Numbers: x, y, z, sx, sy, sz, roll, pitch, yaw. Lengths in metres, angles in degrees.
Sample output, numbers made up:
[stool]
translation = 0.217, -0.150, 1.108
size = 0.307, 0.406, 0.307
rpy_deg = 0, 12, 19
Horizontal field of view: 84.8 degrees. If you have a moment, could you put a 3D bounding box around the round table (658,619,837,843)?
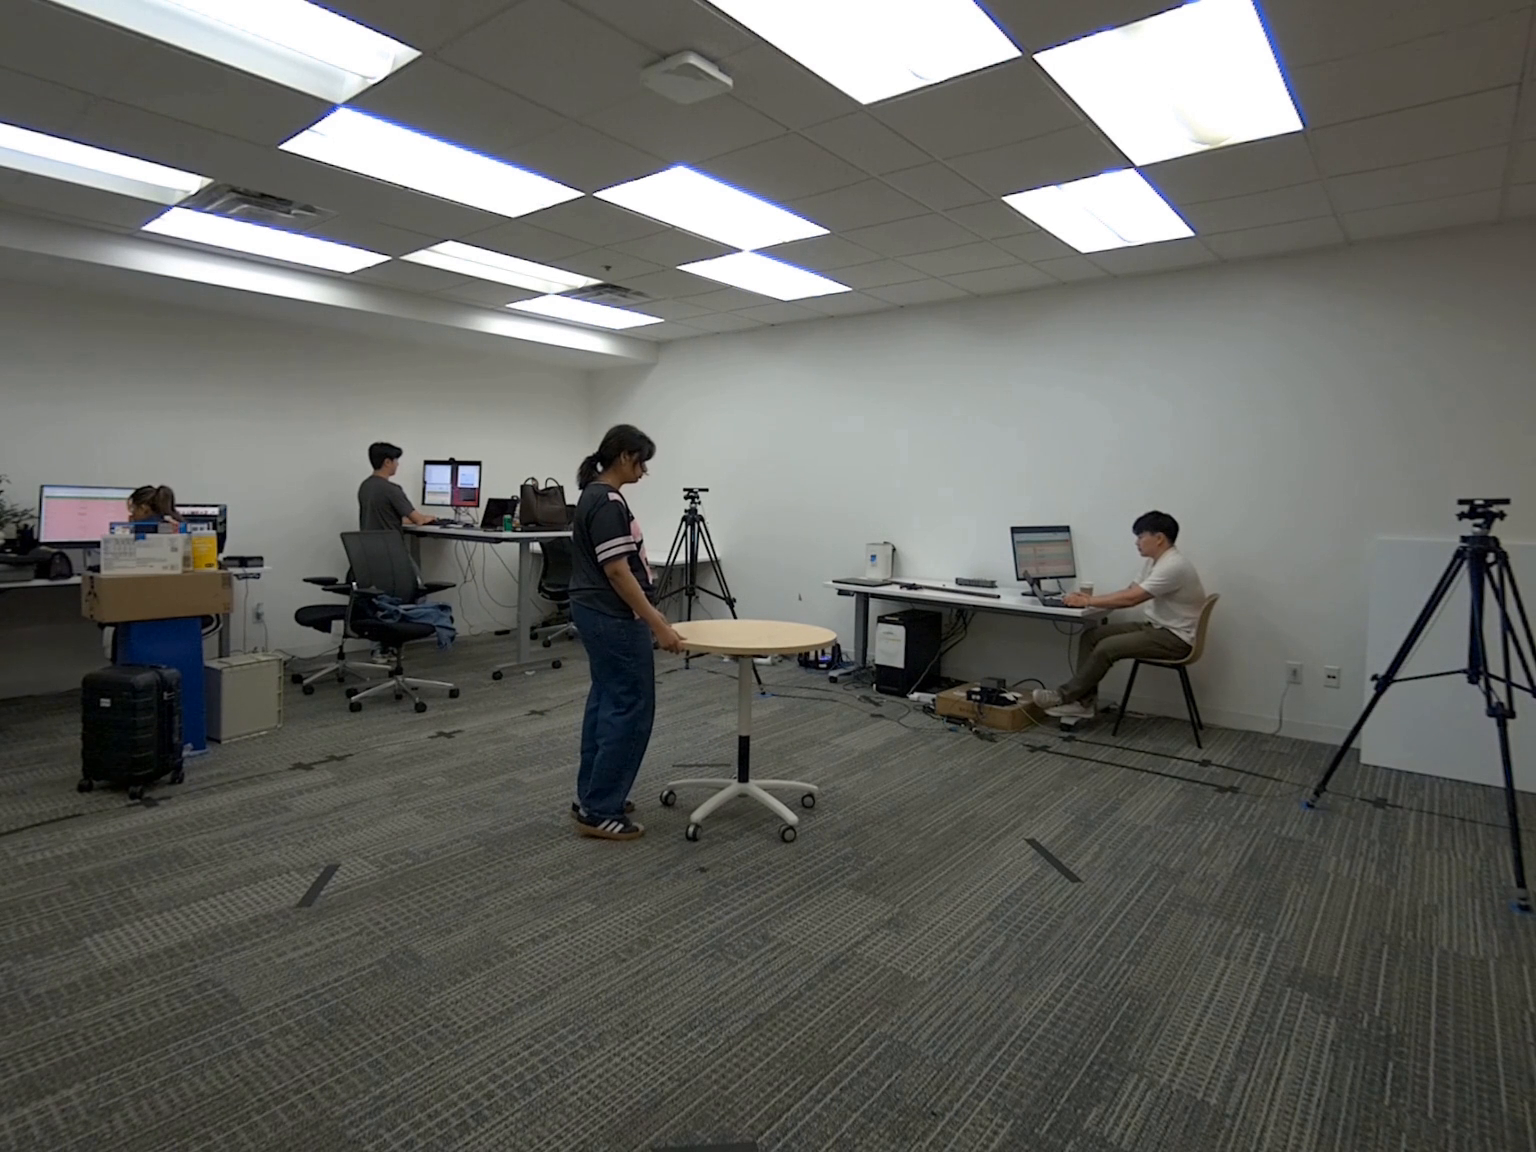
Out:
[round table]
translation = -0.109, 0.636, 3.633
size = 0.763, 0.792, 0.767
rpy_deg = 1, 4, -2
